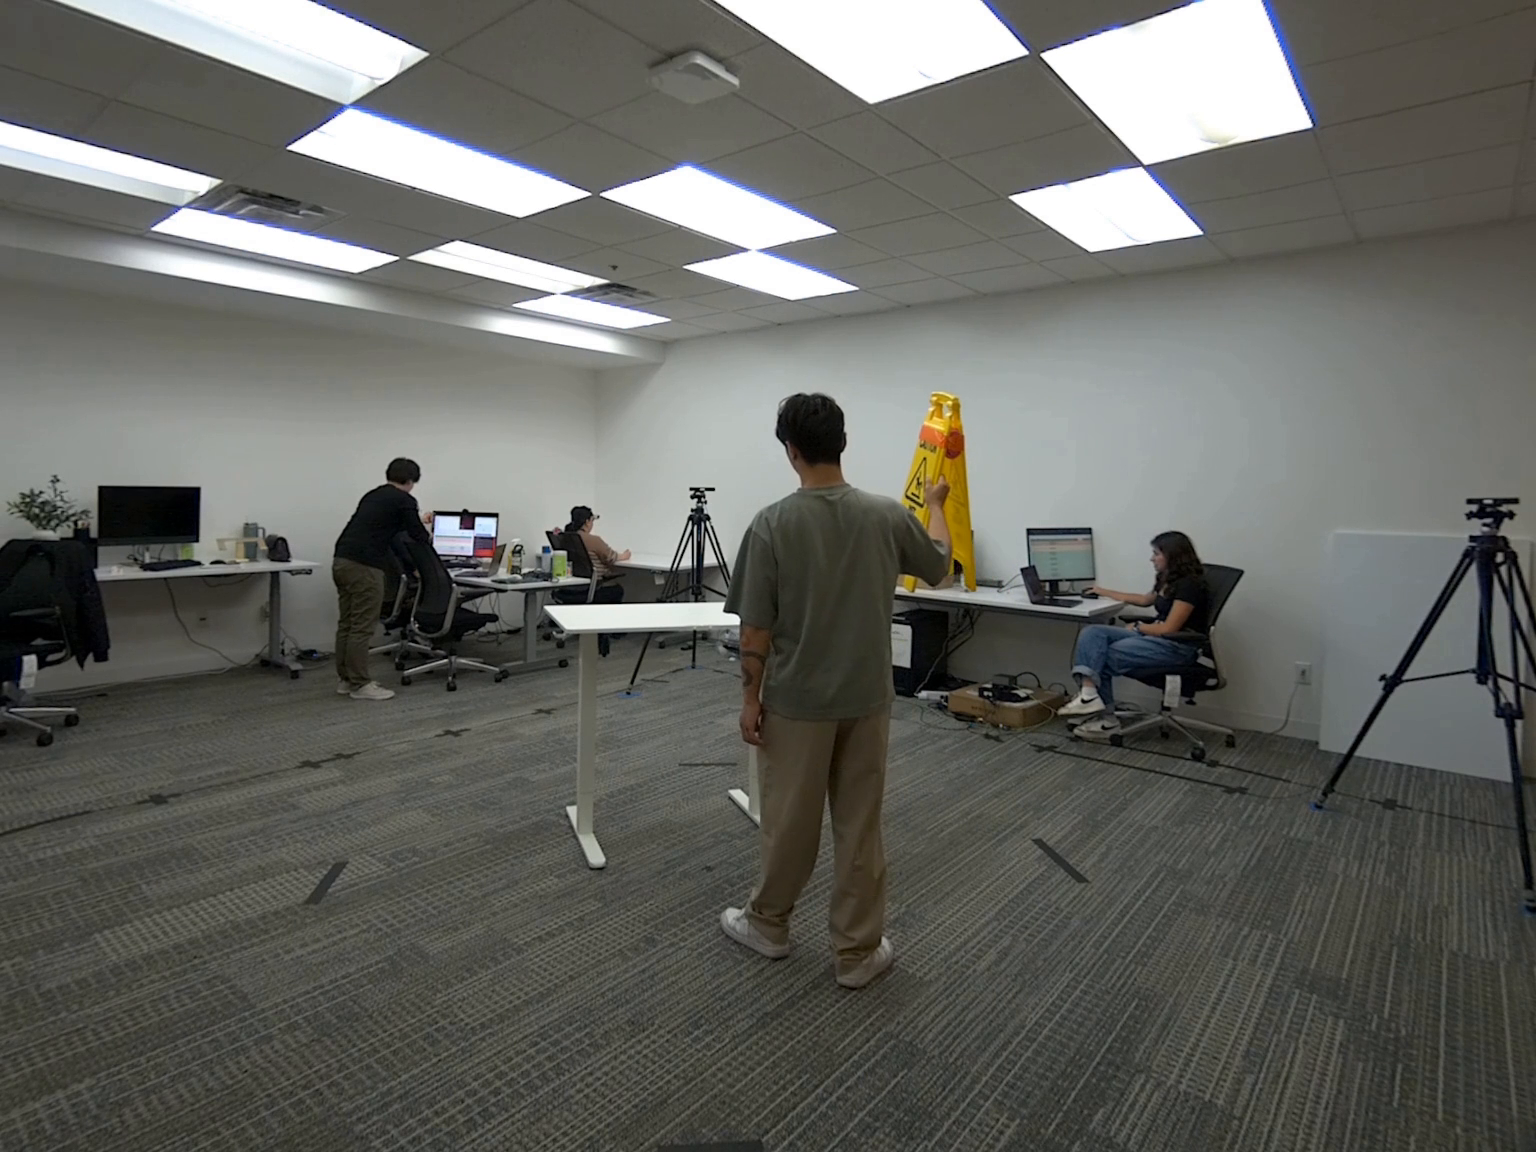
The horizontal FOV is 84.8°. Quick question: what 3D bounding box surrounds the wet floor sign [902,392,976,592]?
[{"bbox_3d":[0.573,-0.302,2.897,0.287,0.637,0.288,0,15,-9],"label":"wet floor sign"}]
